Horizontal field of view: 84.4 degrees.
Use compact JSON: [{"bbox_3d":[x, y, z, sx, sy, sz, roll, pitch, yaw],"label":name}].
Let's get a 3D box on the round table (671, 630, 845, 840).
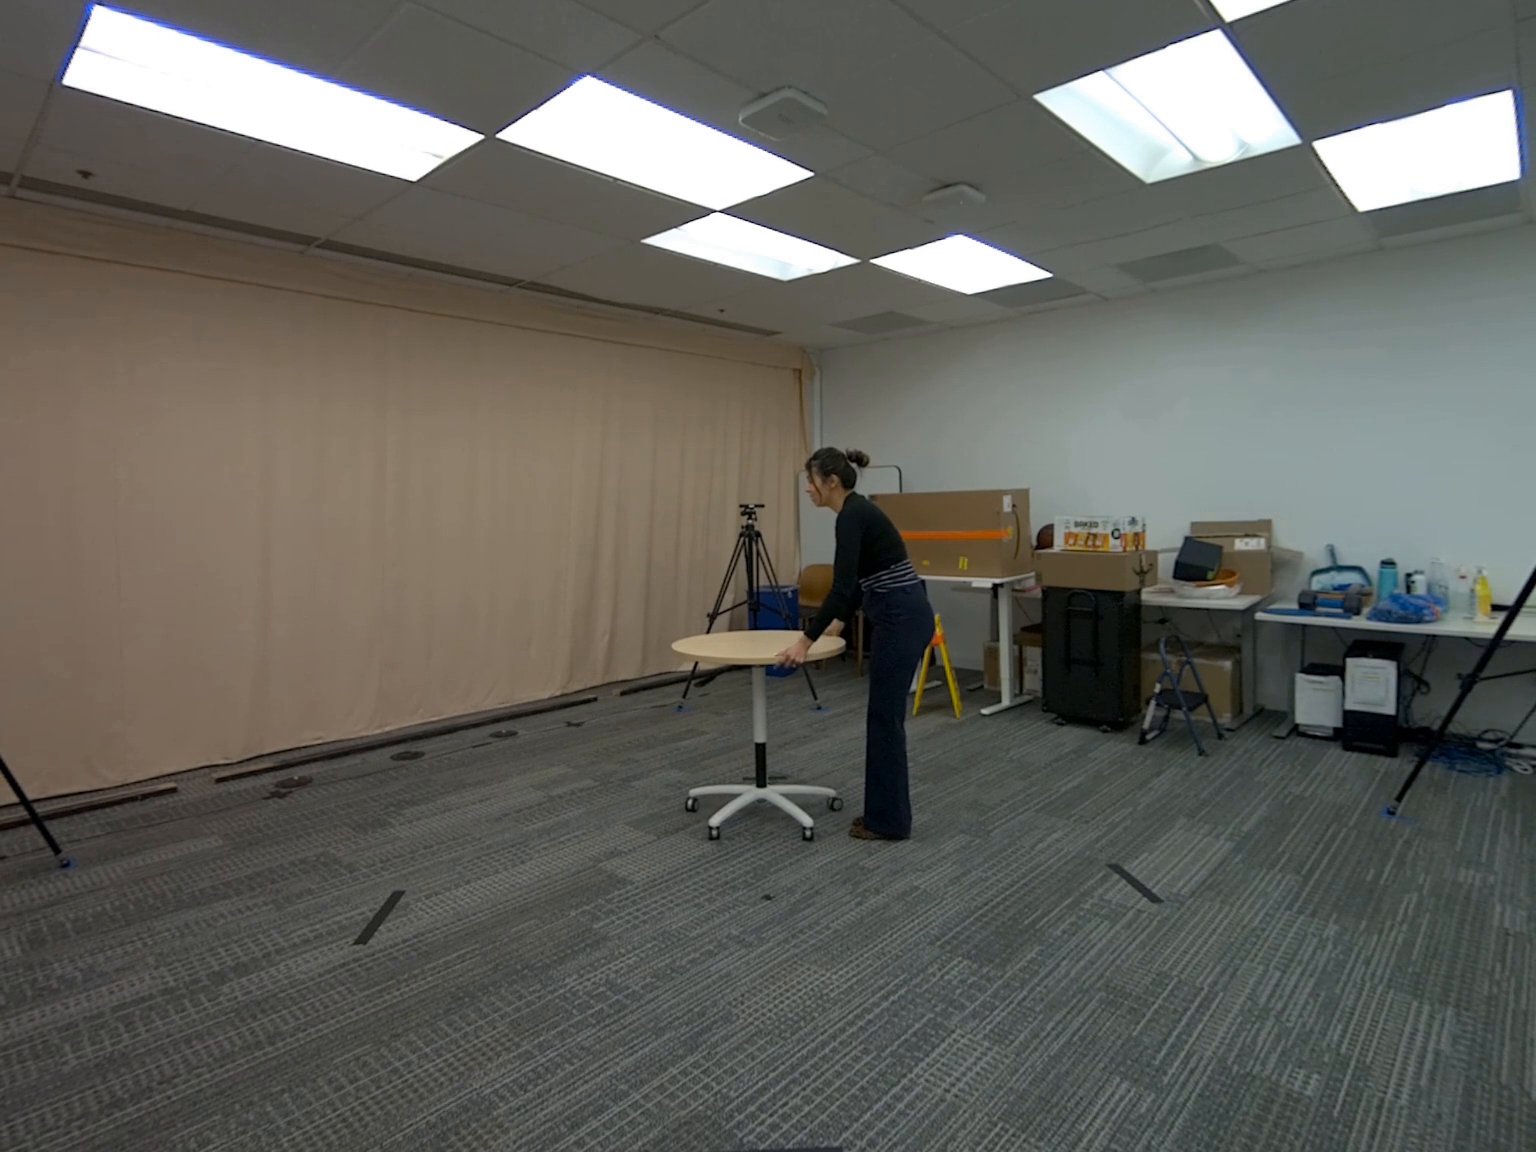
[{"bbox_3d":[-0.030,0.690,3.730,0.763,0.792,0.766,-1,3,-2],"label":"round table"}]
